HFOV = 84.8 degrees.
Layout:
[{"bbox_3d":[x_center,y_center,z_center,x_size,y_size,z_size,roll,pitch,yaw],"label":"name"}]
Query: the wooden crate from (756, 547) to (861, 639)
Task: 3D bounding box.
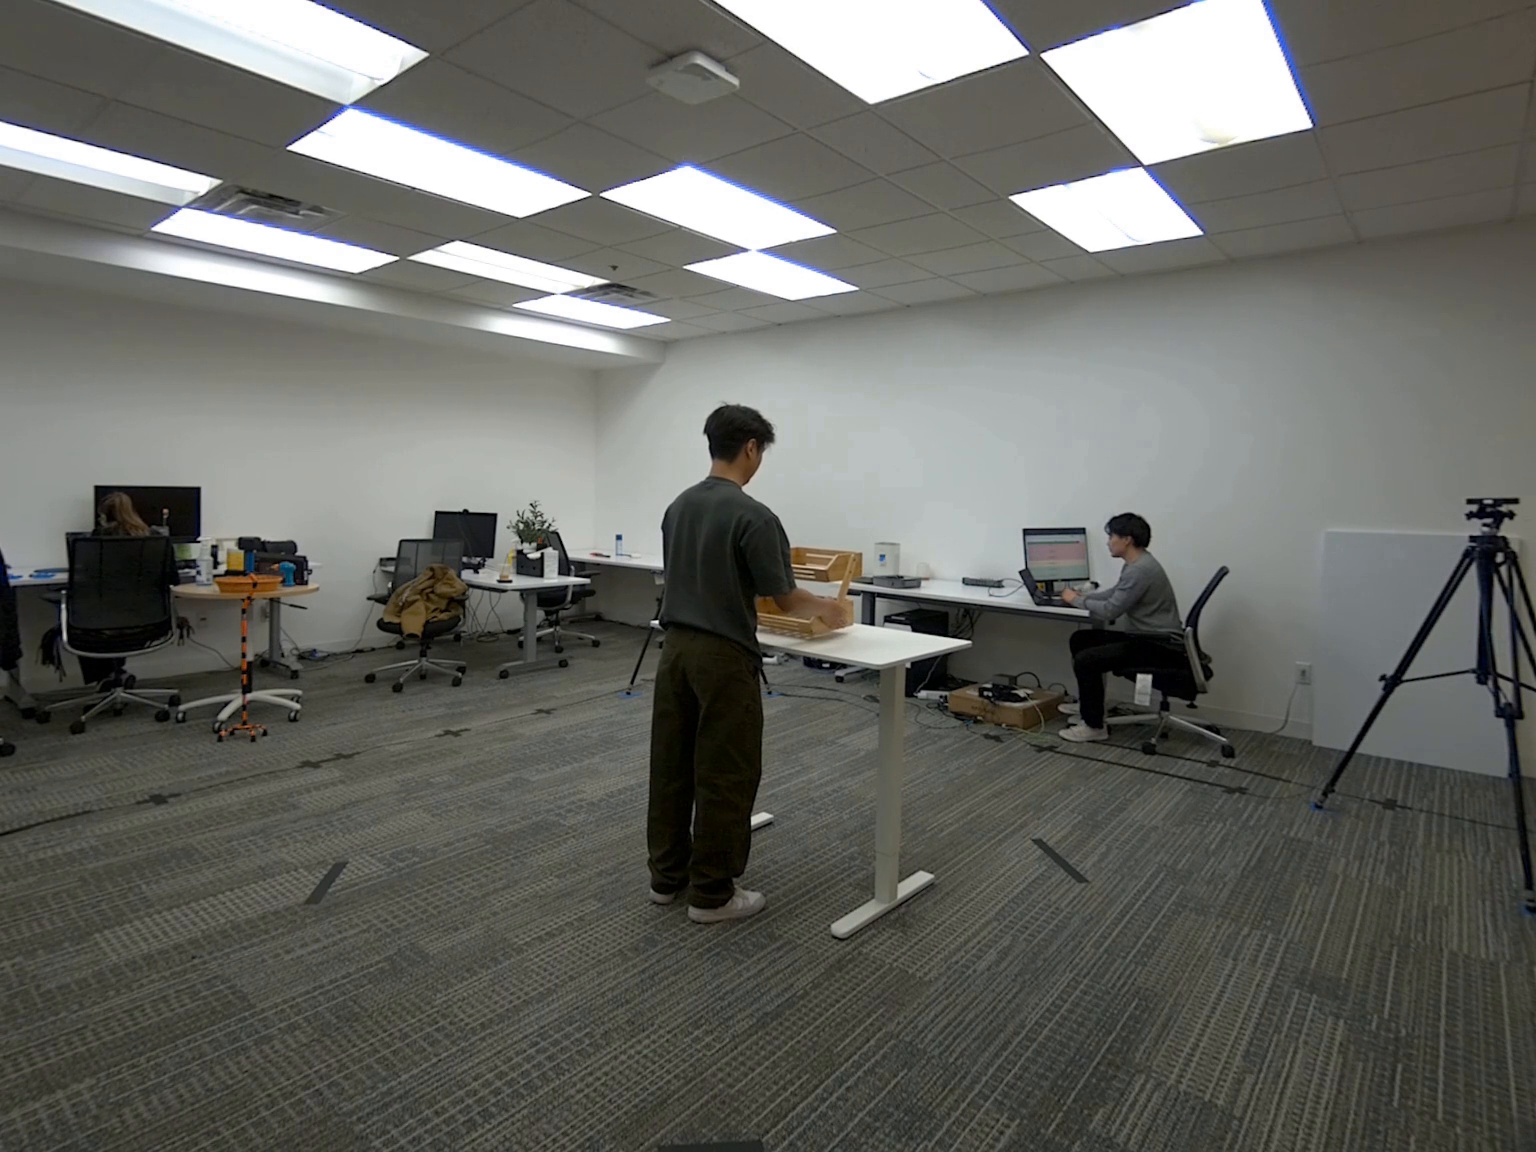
[{"bbox_3d":[0.116,0.042,3.054,0.336,0.272,0.293,6,9,42],"label":"wooden crate"}]
